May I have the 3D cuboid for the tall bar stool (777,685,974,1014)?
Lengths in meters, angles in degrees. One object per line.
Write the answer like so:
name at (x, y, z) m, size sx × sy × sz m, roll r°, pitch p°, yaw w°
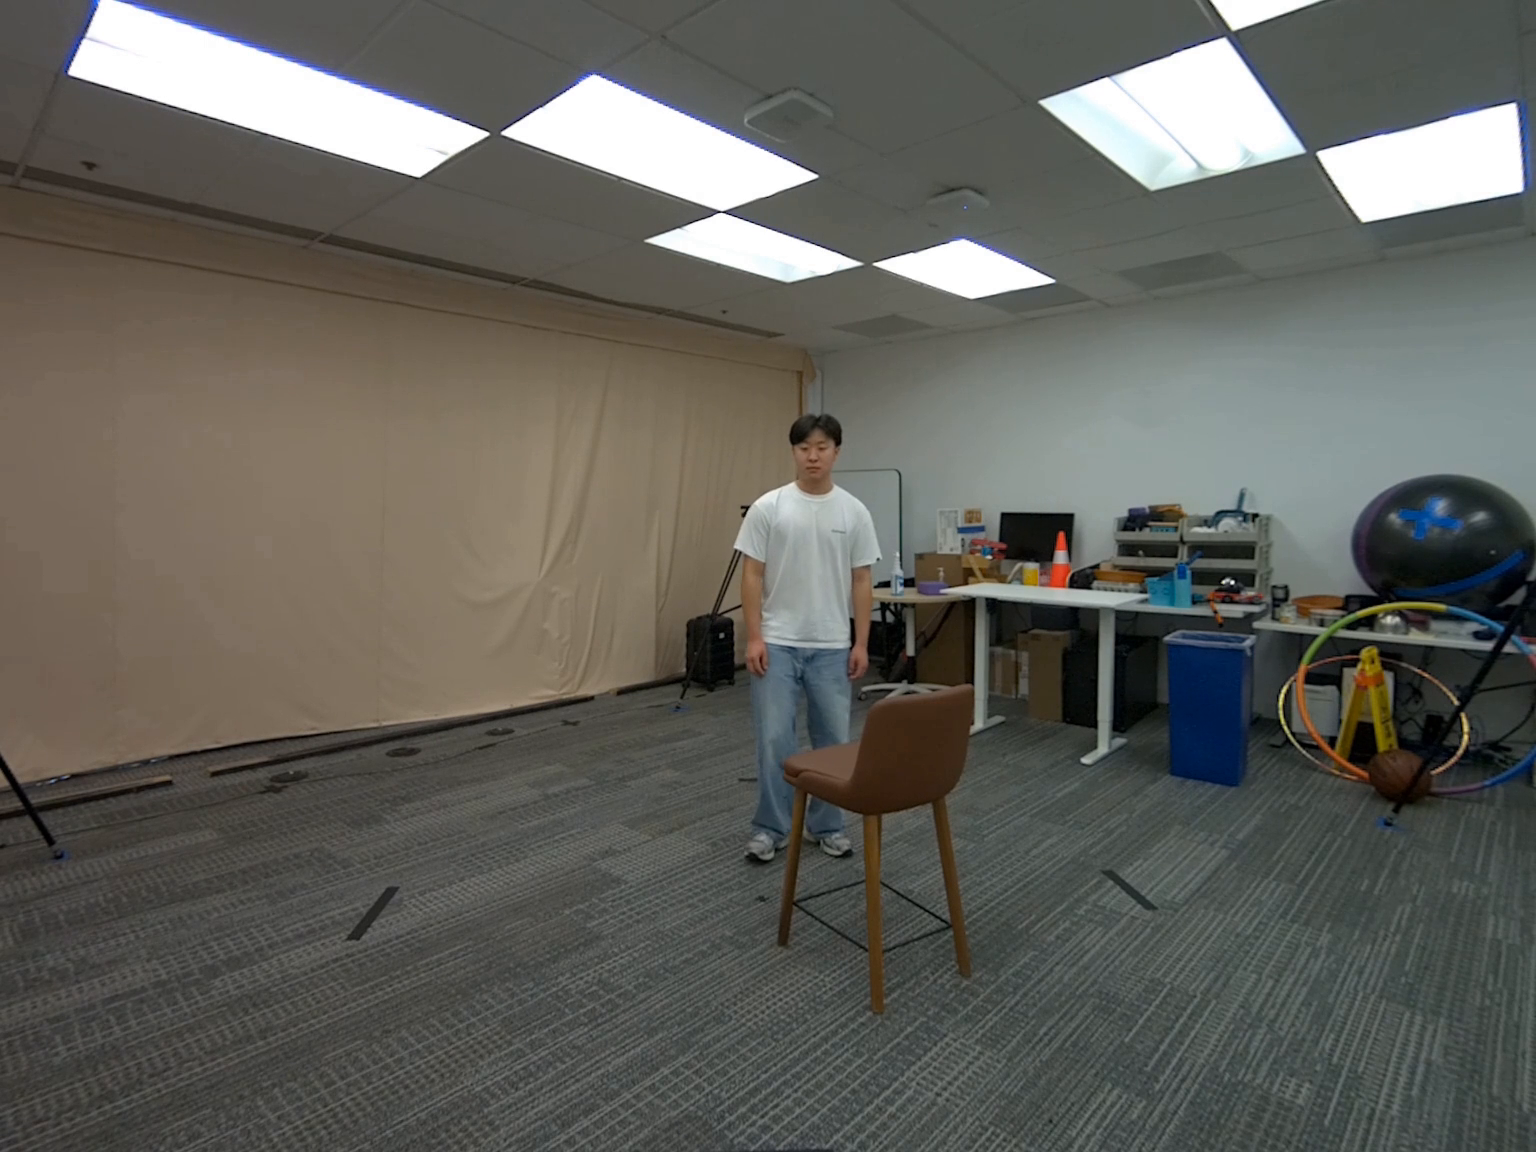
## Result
tall bar stool at (0.330, 0.740, 2.563) m, size 0.443 × 0.887 × 0.482 m, roll -2°, pitch 5°, yaw -34°
